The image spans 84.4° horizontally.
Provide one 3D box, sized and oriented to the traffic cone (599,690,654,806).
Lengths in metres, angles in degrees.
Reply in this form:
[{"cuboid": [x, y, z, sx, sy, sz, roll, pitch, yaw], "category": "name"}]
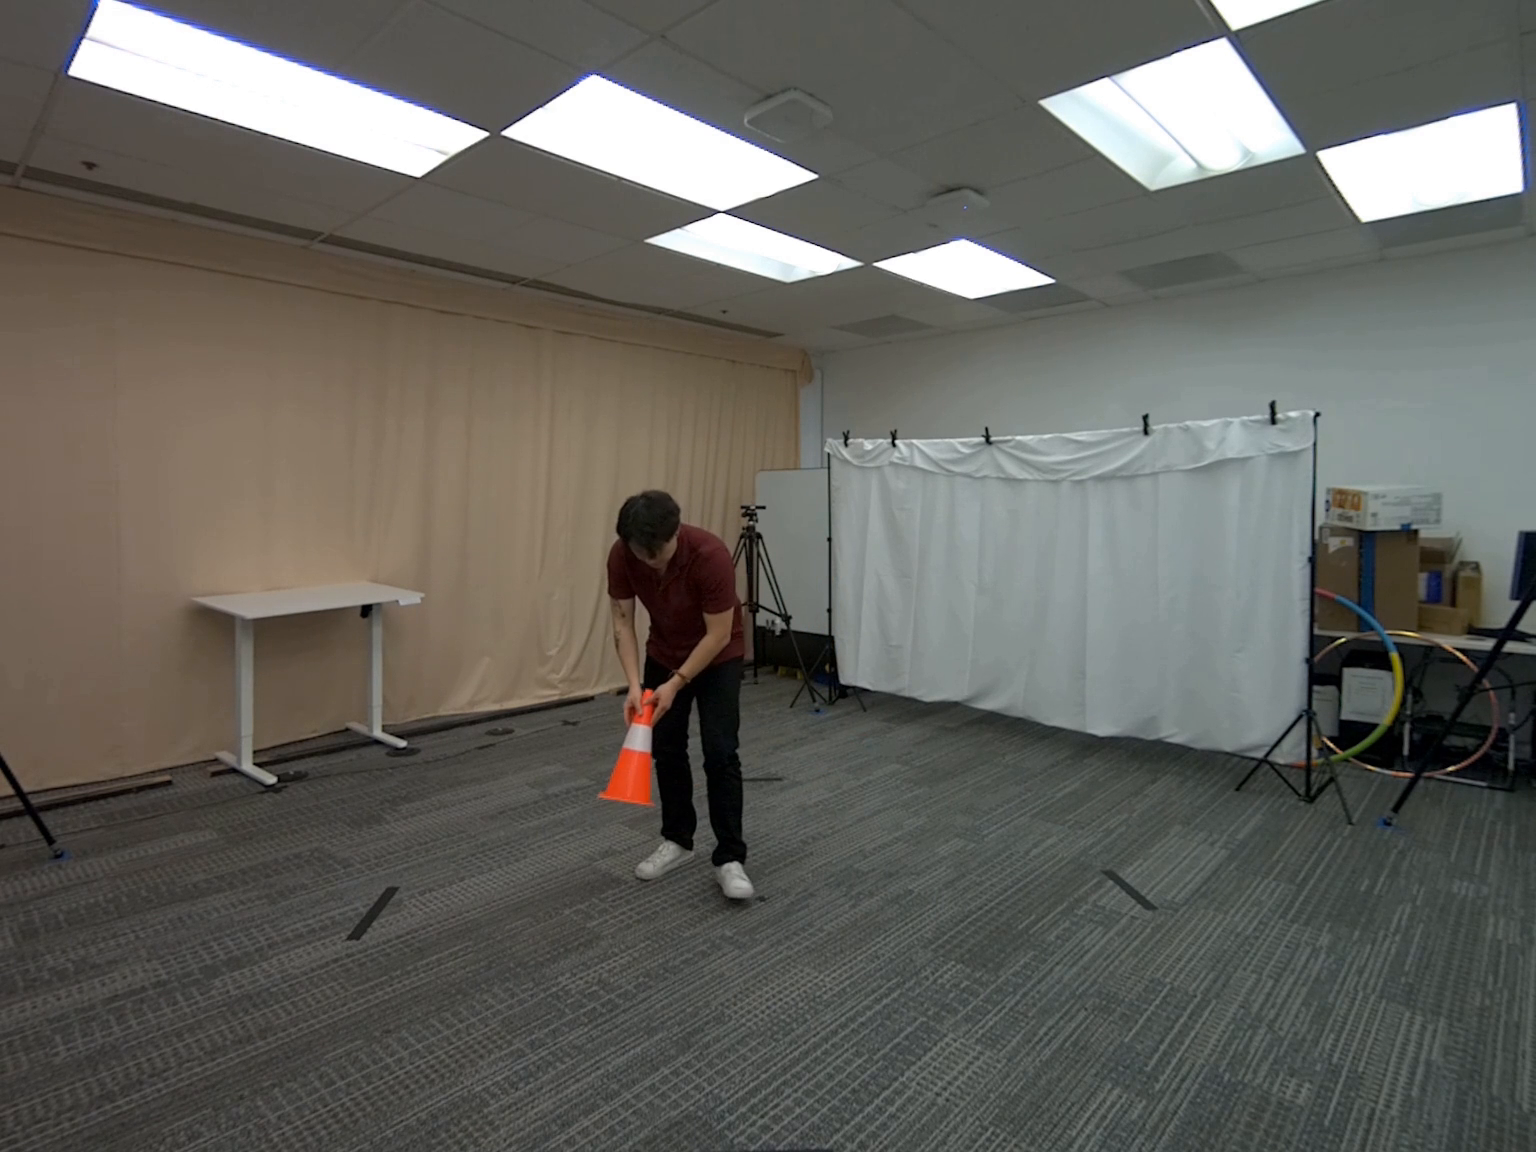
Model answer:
[{"cuboid": [-0.456, 0.594, 2.960, 0.205, 0.386, 0.202, 9, -13, 1], "category": "traffic cone"}]
